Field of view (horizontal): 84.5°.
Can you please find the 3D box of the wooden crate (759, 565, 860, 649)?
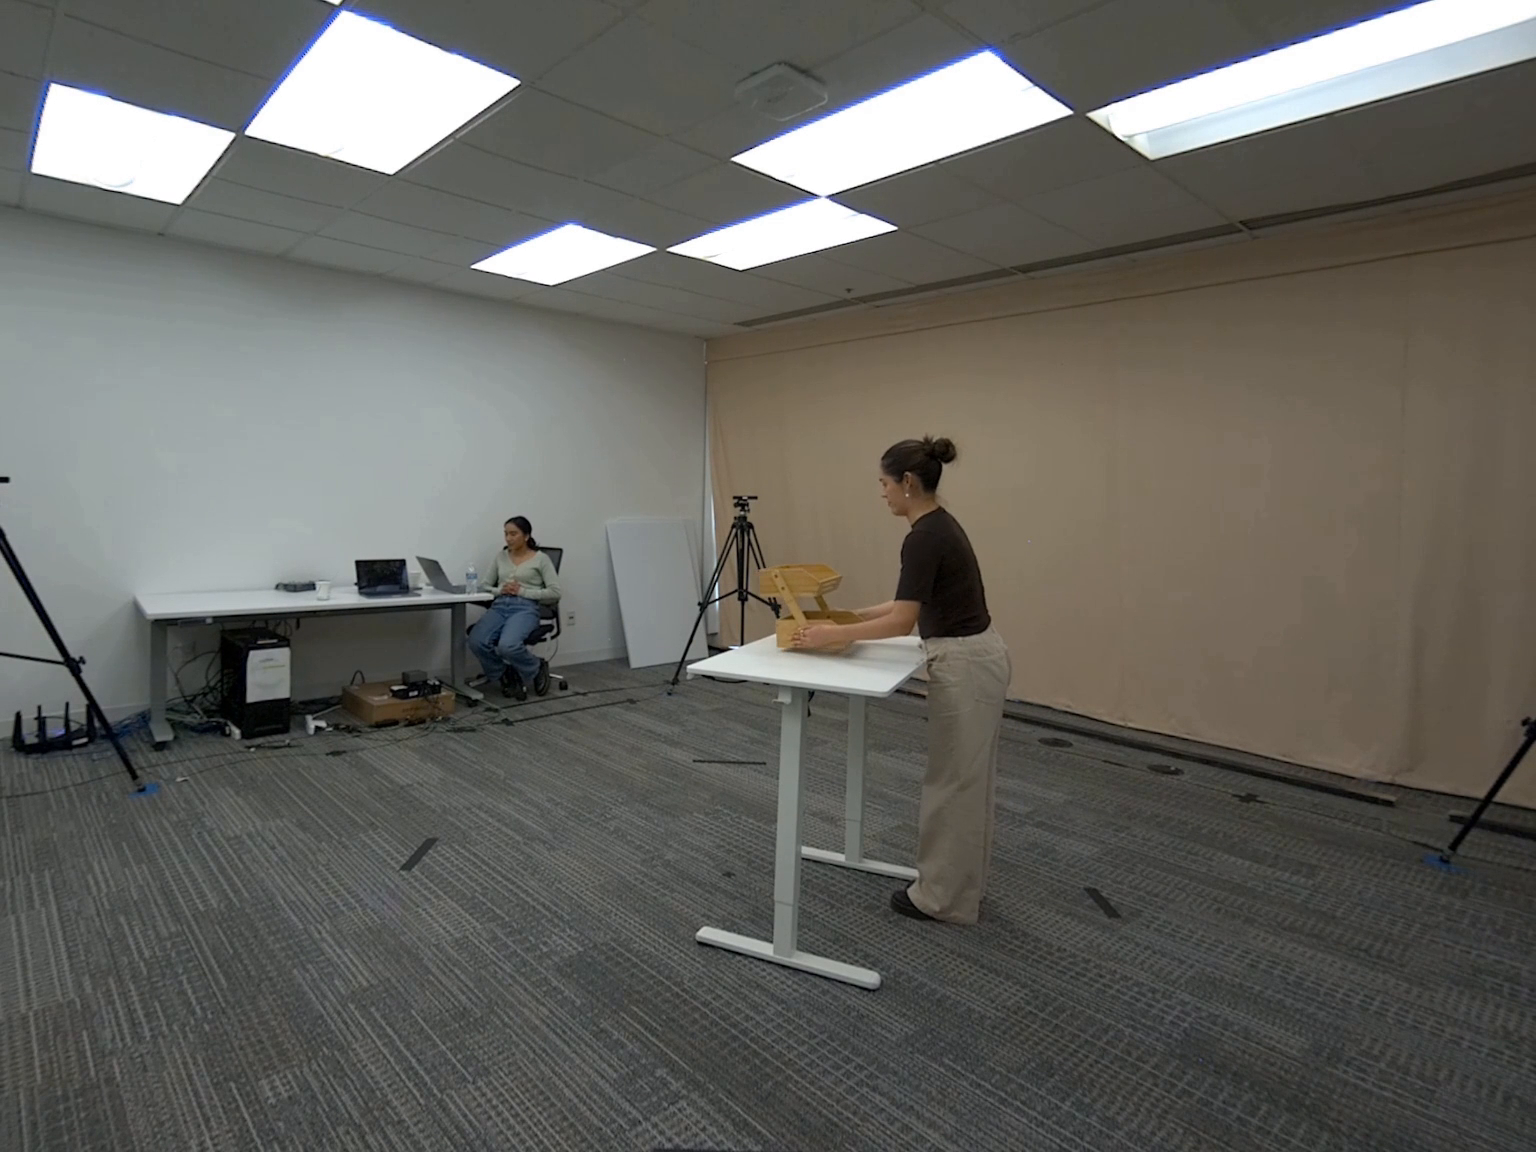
[{"bbox_3d":[0.171,0.098,2.889,0.307,0.273,0.320,1,3,21],"label":"wooden crate"}]
